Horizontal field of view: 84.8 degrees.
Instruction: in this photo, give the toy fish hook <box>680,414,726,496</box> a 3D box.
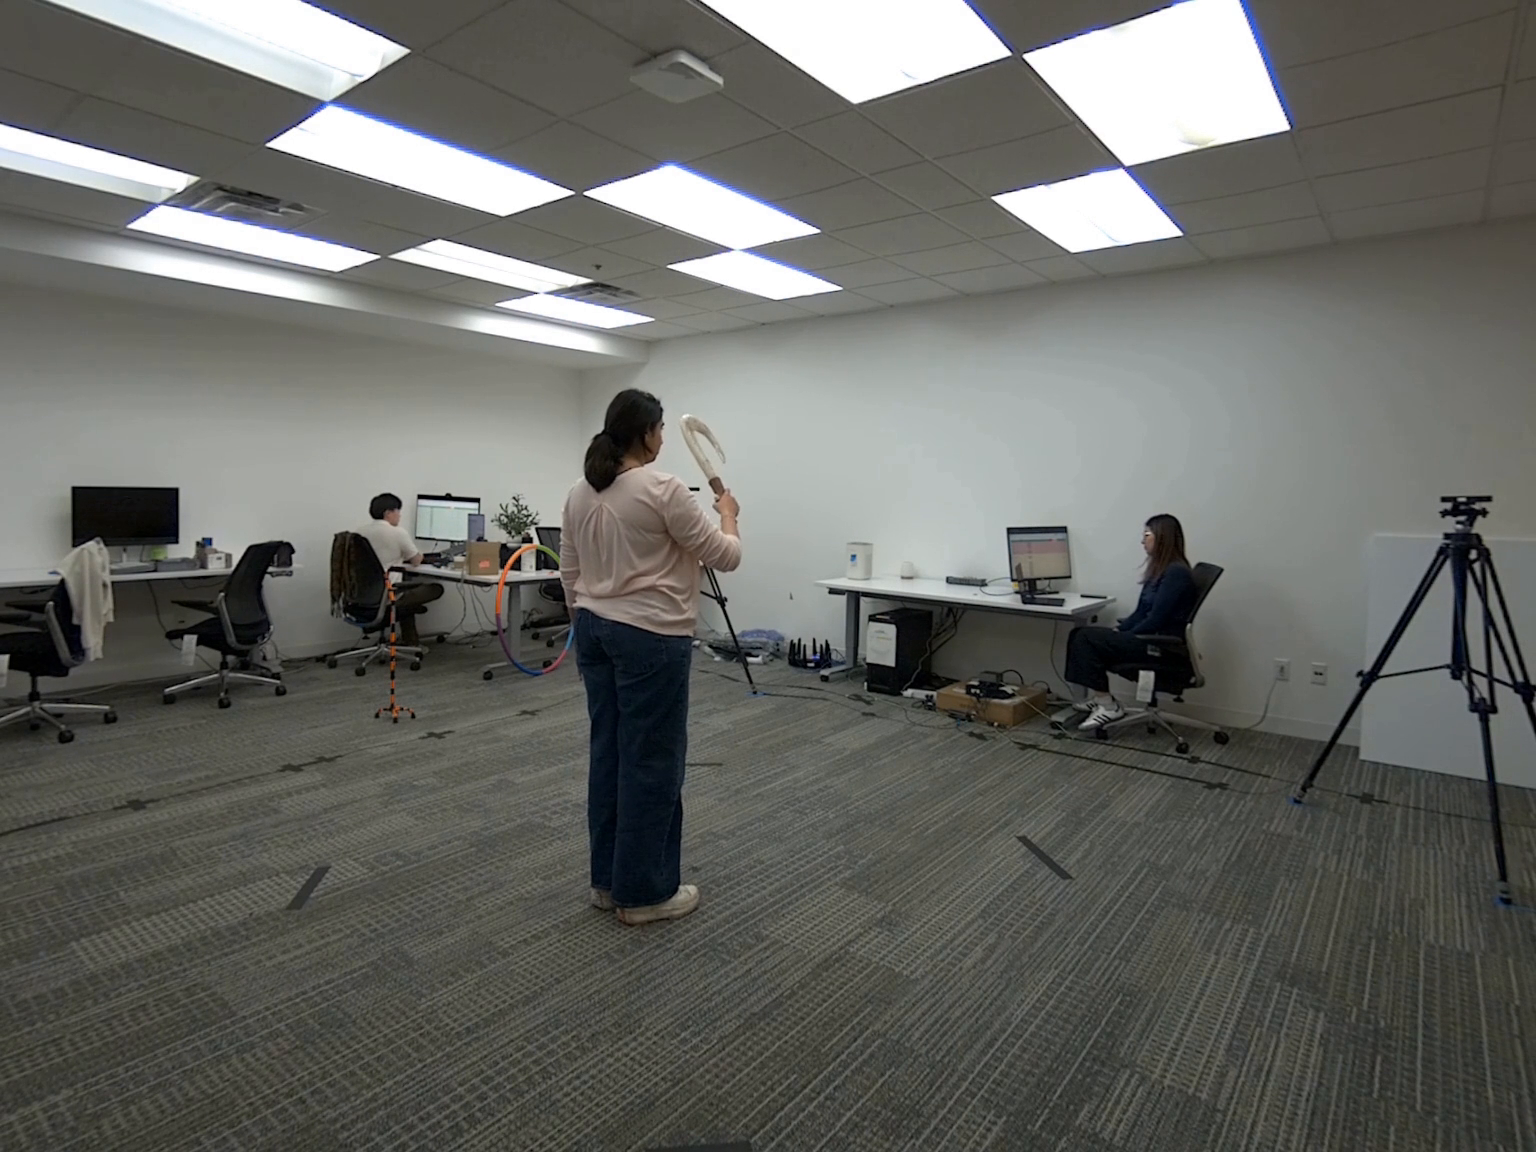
[{"bbox_3d":[-0.193,-0.380,3.133,0.048,0.522,0.216,-38,-29,30],"label":"toy fish hook"}]
